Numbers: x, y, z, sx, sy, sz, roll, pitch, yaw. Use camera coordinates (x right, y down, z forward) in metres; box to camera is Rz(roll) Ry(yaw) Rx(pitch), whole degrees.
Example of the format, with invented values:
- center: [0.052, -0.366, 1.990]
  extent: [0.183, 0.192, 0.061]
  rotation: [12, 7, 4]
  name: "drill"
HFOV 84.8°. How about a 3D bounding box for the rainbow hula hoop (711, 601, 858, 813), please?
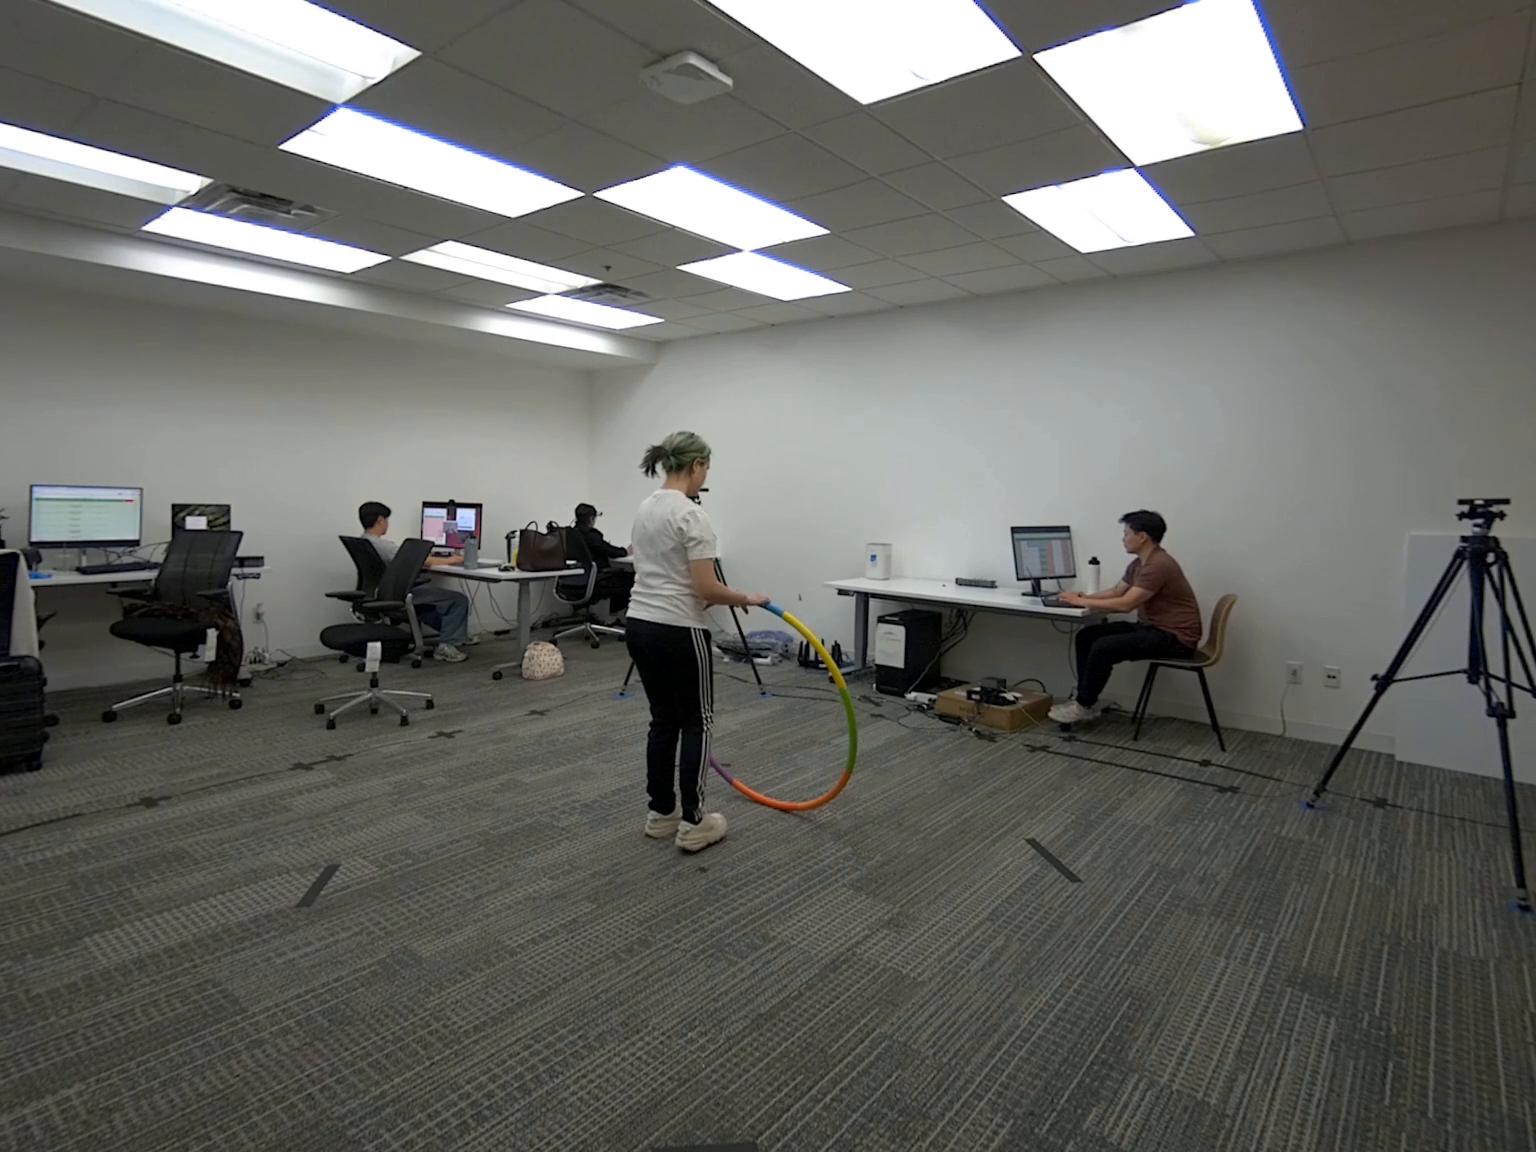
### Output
- center: [-0.055, 0.545, 3.631]
  extent: [1.011, 0.963, 0.035]
  rotation: [5, 19, 40]
  name: "rainbow hula hoop"
